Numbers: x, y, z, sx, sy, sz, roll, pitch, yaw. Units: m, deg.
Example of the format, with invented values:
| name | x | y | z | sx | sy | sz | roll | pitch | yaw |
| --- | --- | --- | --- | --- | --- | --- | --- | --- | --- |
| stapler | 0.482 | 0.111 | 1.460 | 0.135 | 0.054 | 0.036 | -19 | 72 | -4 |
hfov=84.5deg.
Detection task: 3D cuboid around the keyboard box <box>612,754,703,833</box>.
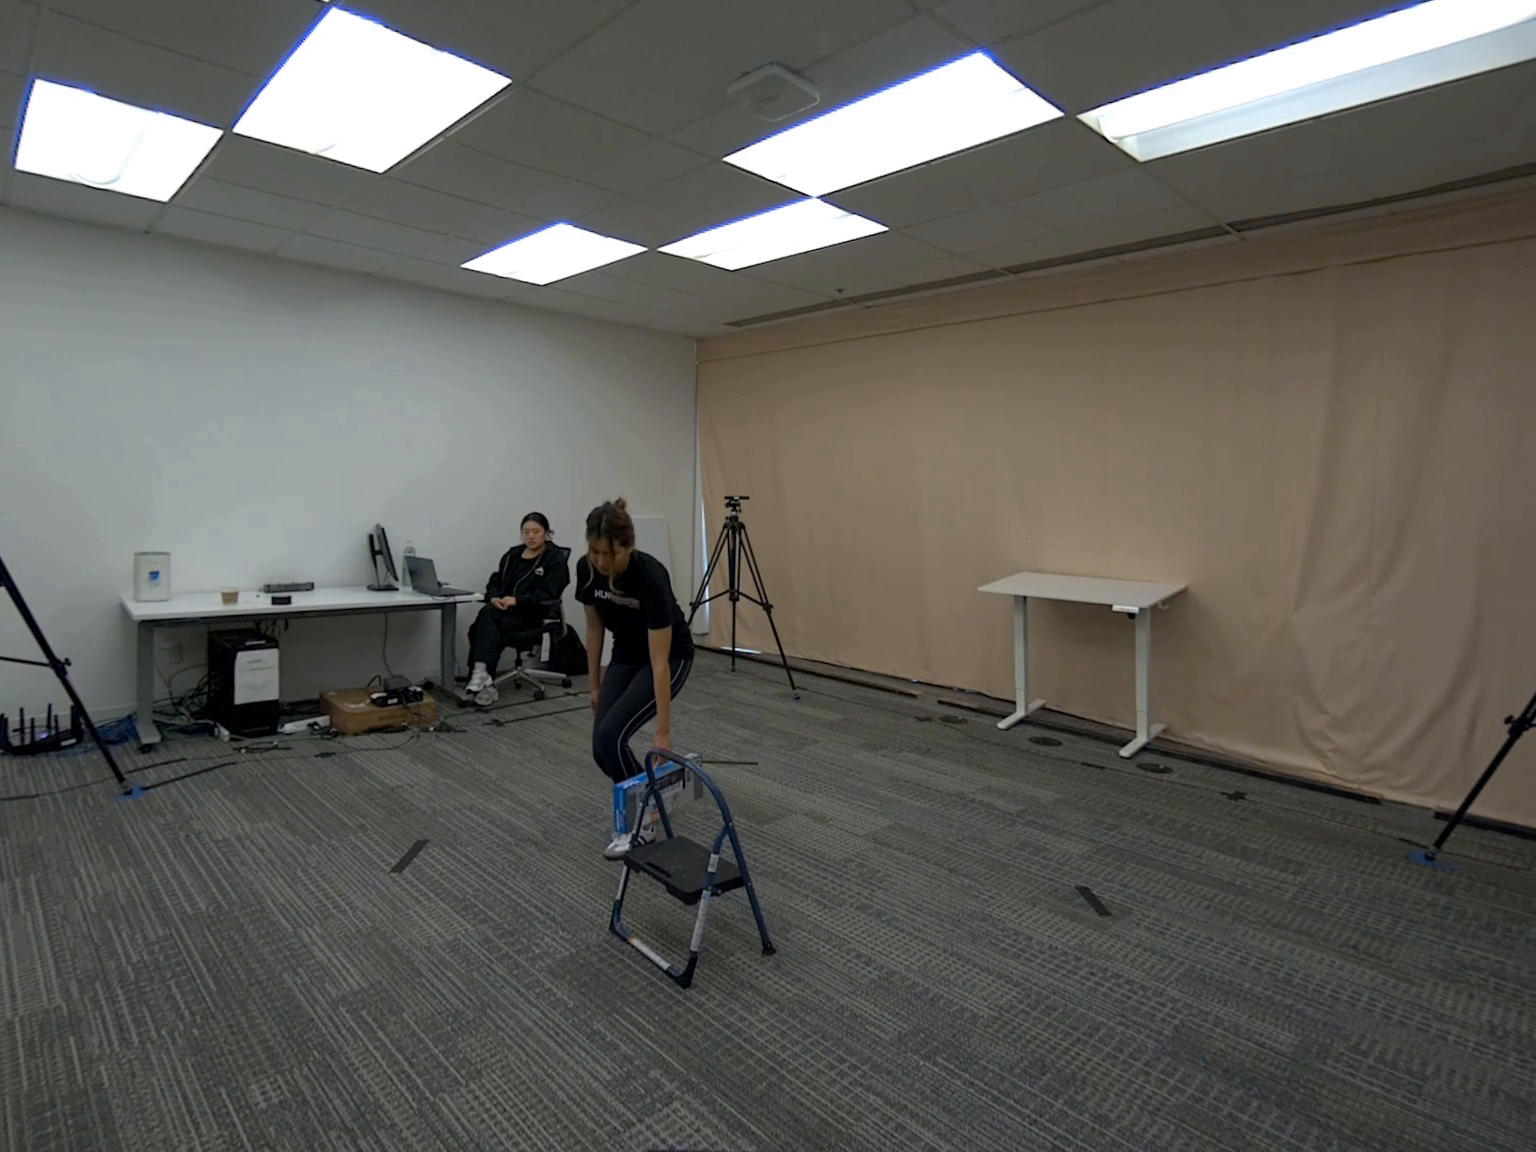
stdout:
| name | x | y | z | sx | sy | sz | roll | pitch | yaw |
| --- | --- | --- | --- | --- | --- | --- | --- | --- | --- |
| keyboard box | -0.414 | 0.813 | 3.171 | 0.060 | 0.175 | 0.428 | 3 | 8 | 35 |
